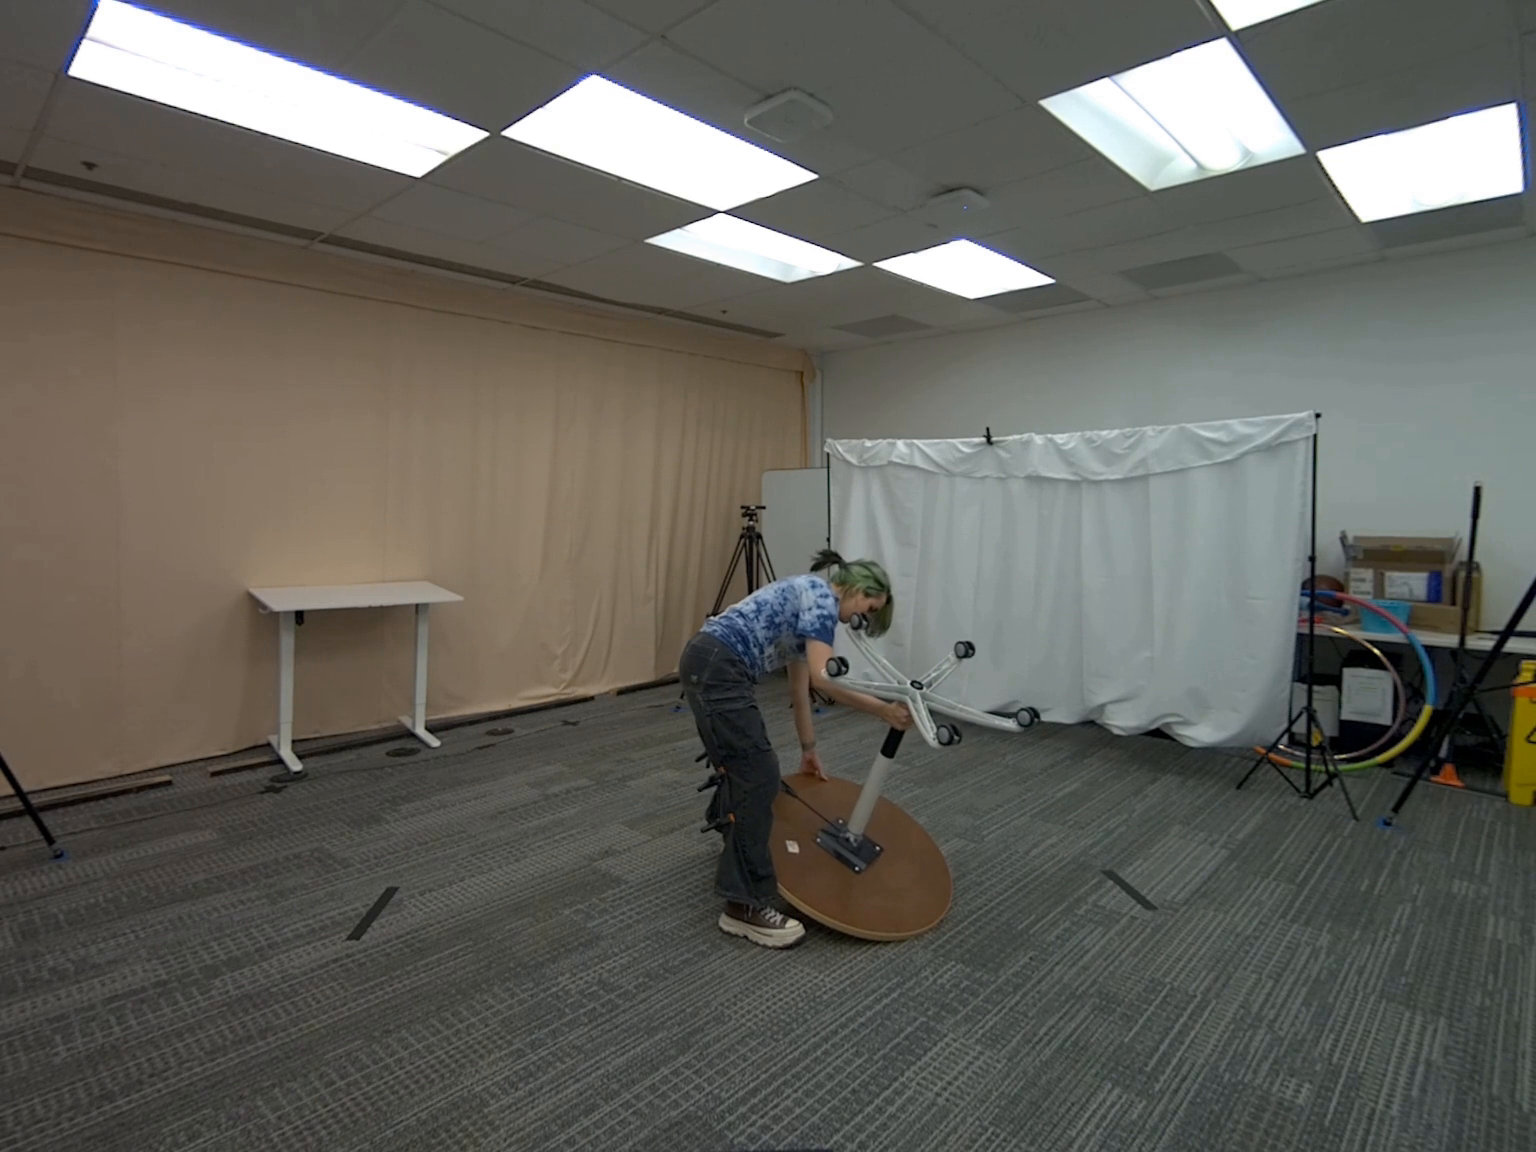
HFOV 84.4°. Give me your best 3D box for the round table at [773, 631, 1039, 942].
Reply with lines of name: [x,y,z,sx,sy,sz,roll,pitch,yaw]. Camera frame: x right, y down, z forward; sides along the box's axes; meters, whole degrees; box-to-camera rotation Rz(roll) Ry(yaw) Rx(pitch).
round table: [0.394,0.639,2.844,0.758,0.789,0.775,14,22,-8]
